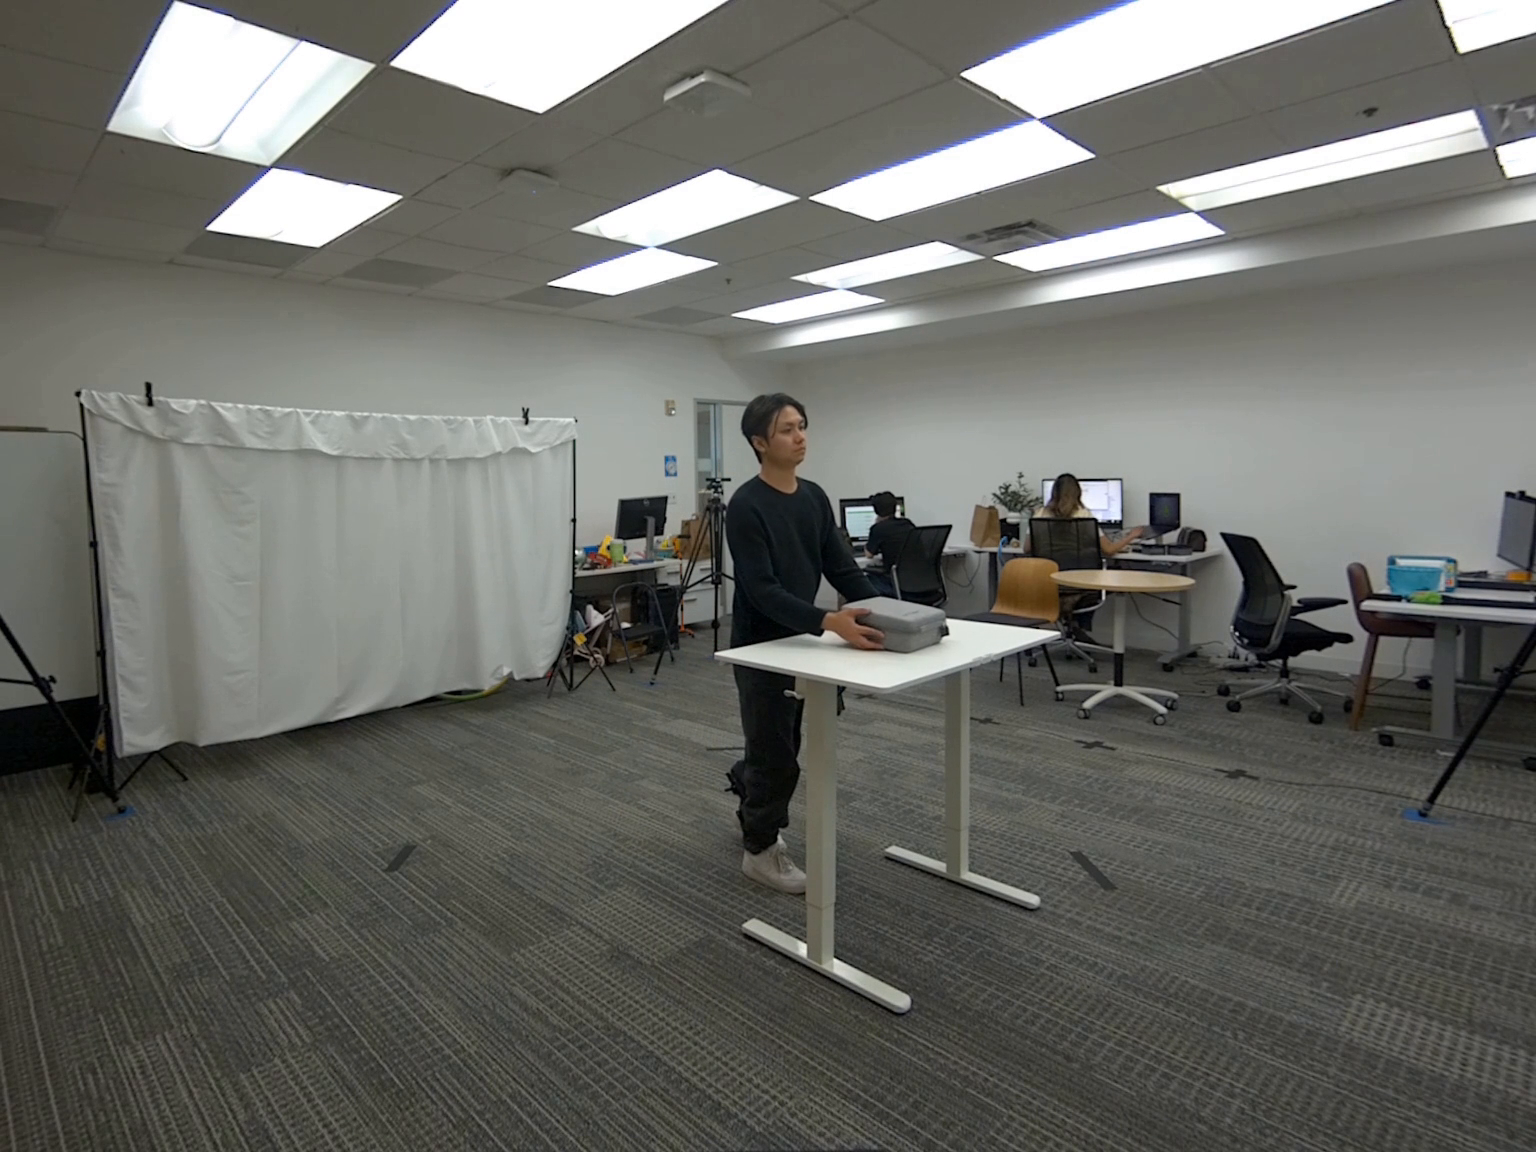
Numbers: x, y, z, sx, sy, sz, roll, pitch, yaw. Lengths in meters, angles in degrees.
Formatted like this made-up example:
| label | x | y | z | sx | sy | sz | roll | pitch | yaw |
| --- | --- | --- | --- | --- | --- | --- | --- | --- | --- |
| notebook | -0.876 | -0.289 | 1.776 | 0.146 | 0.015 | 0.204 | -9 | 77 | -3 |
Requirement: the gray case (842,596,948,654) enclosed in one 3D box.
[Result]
| label | x | y | z | sx | sy | sz | roll | pitch | yaw |
| --- | --- | --- | --- | --- | --- | --- | --- | --- | --- |
| gray case | 0.372 | 0.146 | 2.620 | 0.269 | 0.103 | 0.251 | 11 | 14 | 37 |
